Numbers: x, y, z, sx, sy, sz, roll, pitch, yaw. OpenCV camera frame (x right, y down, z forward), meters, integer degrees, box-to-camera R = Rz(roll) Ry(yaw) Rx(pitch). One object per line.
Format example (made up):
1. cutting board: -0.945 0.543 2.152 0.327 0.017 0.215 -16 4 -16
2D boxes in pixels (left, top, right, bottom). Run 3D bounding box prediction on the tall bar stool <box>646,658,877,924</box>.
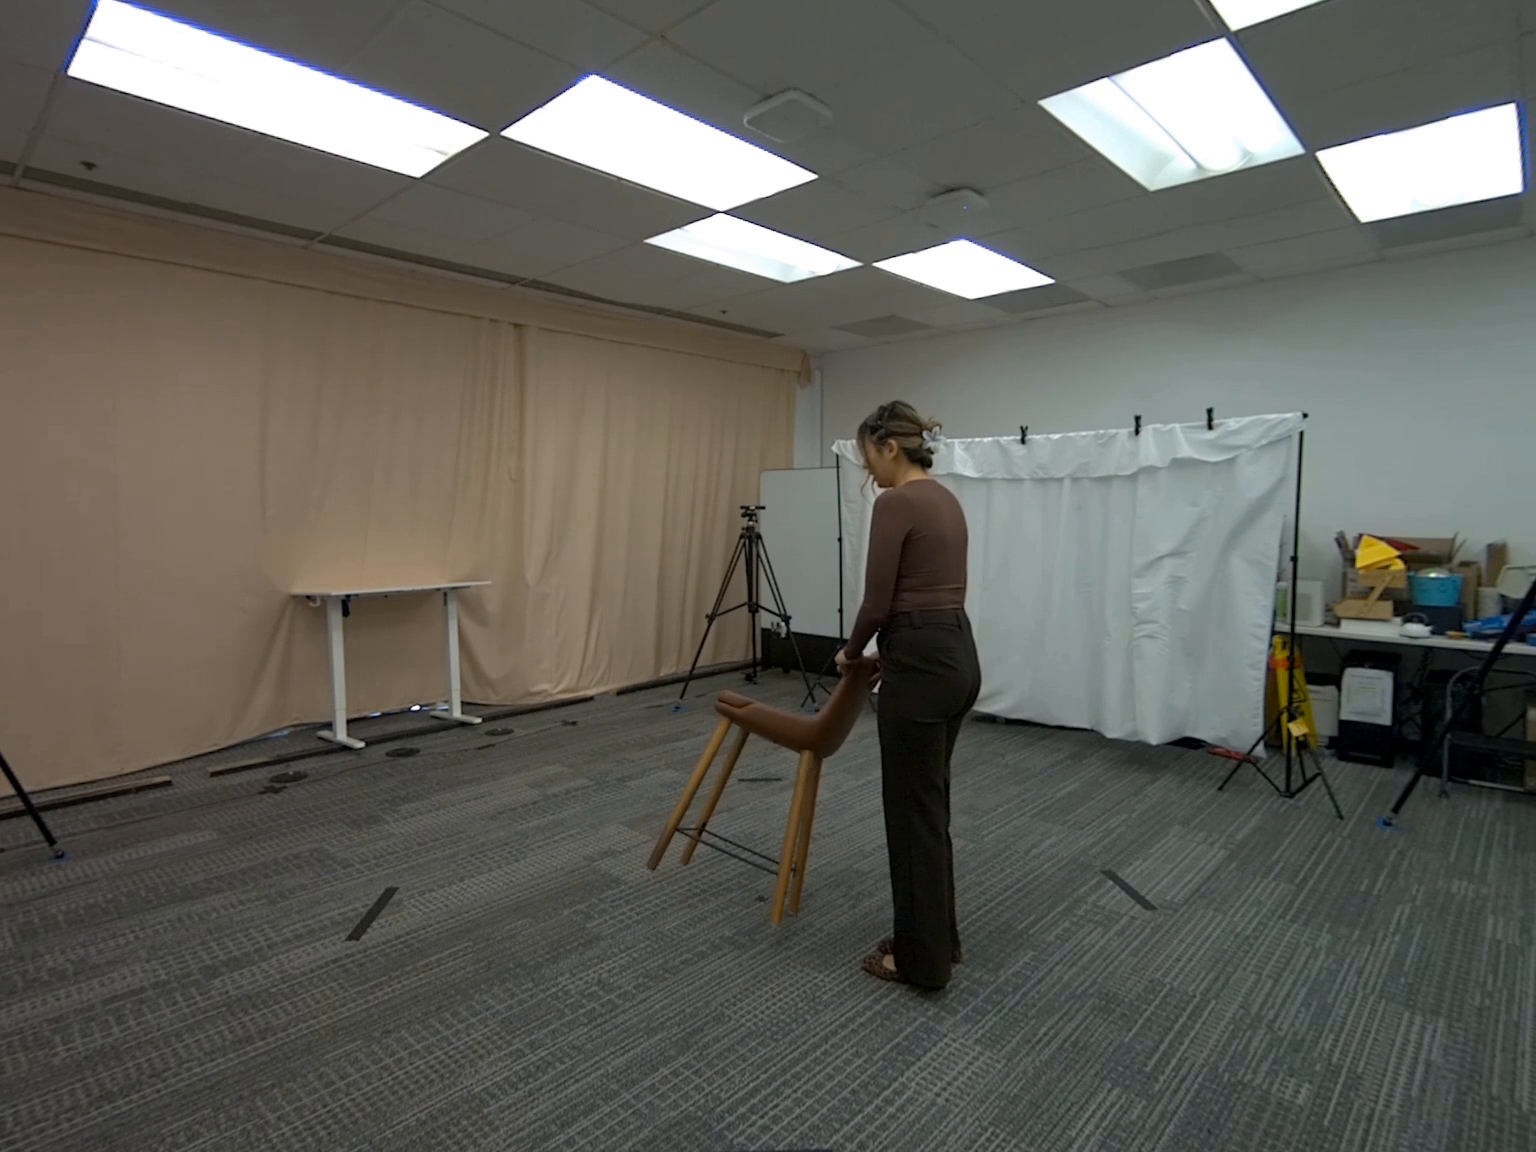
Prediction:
1. tall bar stool: 0.010 0.649 2.864 0.478 0.891 0.445 18 -12 18
